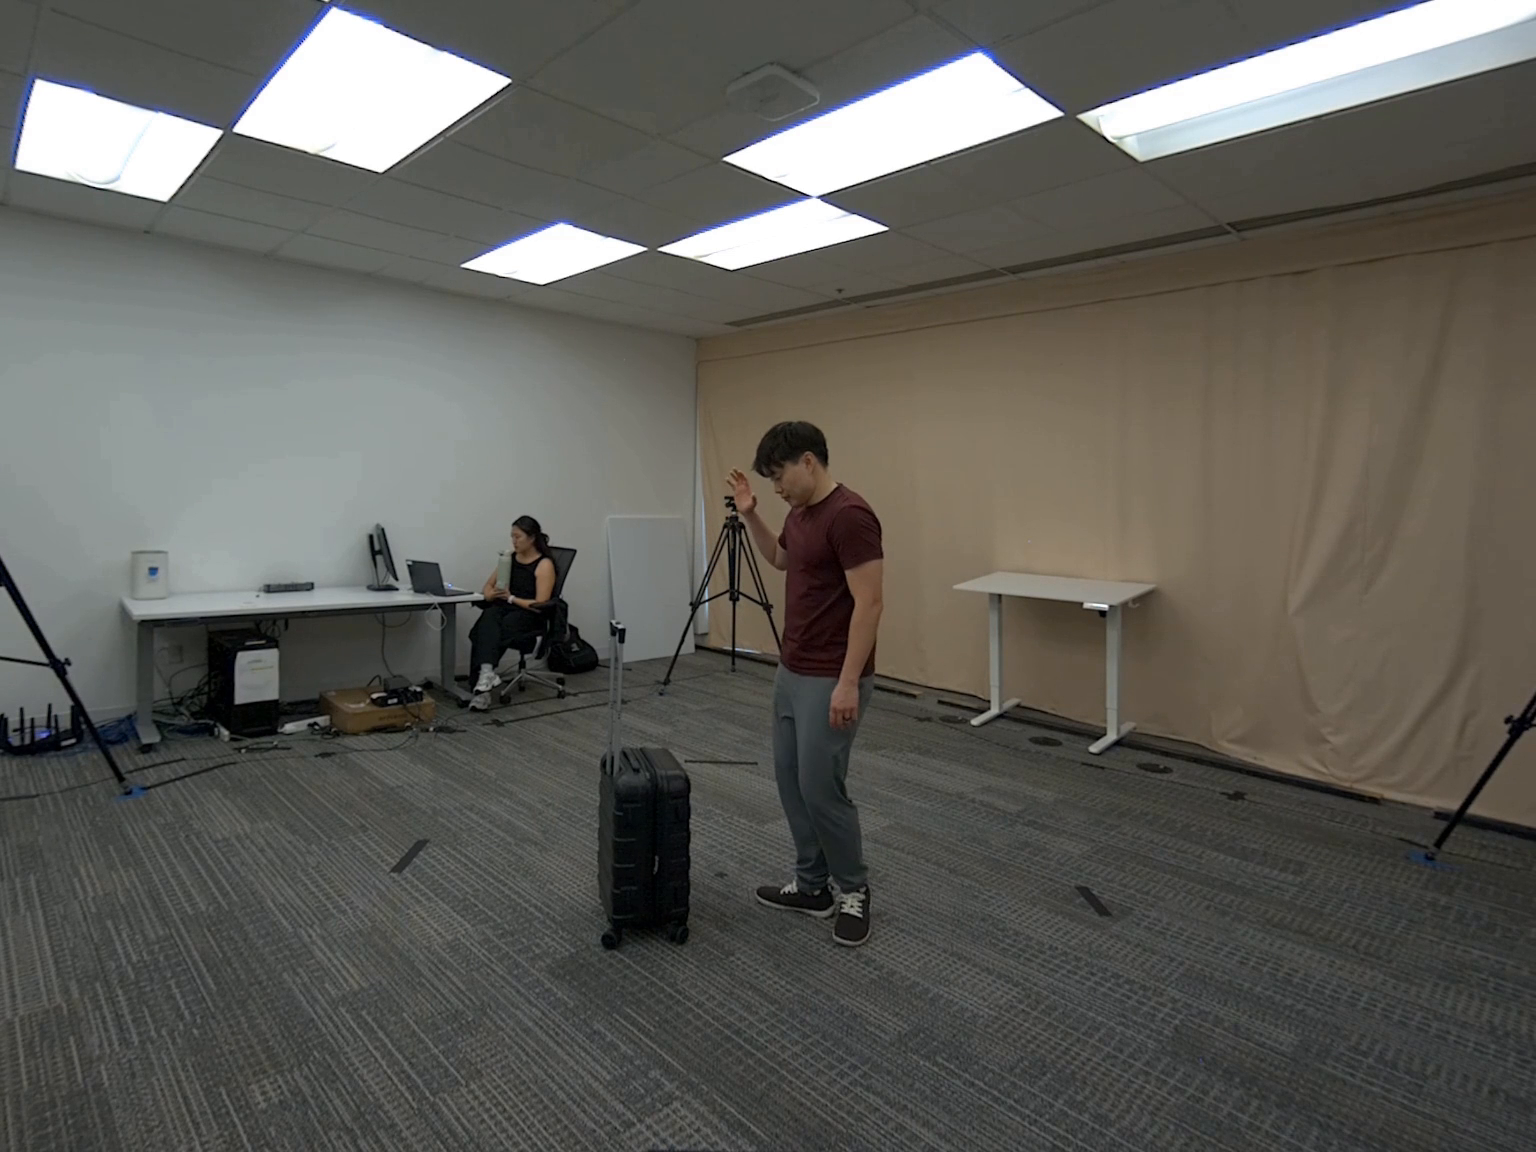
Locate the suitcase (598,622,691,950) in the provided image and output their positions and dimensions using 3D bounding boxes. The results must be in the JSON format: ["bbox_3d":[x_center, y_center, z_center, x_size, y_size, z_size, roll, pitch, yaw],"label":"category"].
[{"bbox_3d":[-0.401,0.652,2.733,0.254,0.976,0.389,2,4,-15],"label":"suitcase"}]
